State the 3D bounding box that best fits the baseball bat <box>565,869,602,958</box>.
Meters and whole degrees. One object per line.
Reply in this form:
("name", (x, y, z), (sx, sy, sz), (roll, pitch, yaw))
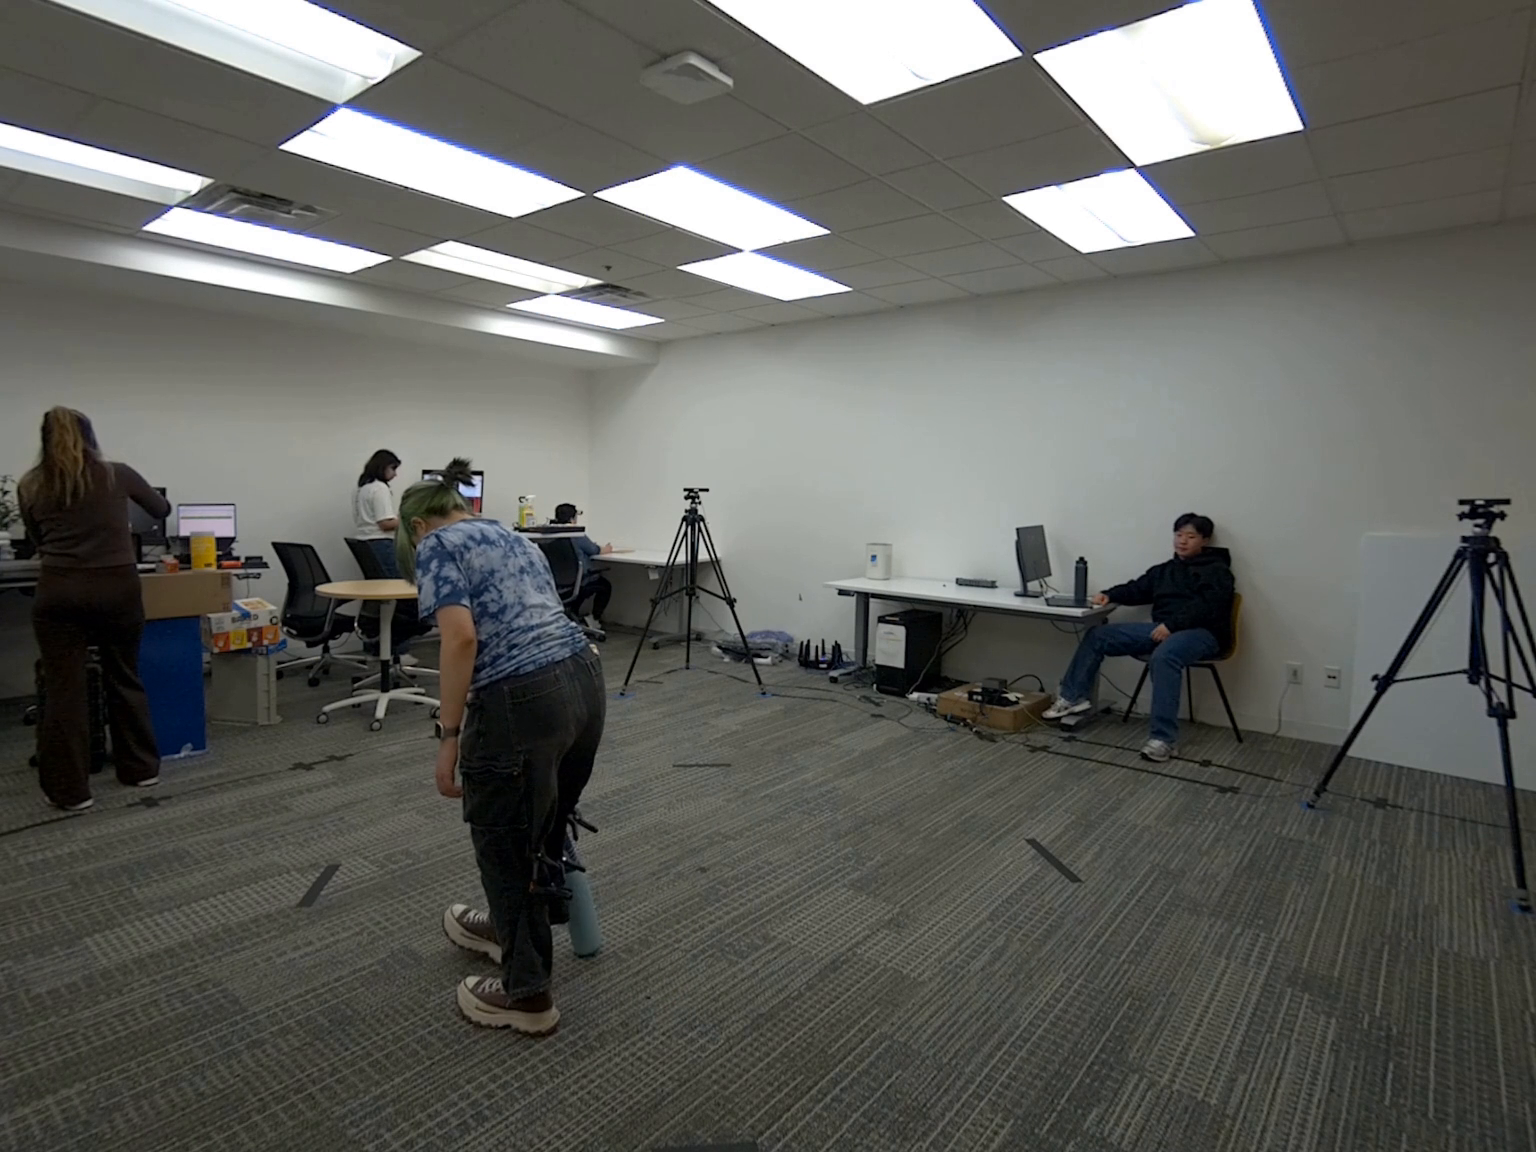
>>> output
("baseball bat", (-0.599, 0.853, 2.531), (0.089, 0.542, 0.089), (-12, 2, -1))
